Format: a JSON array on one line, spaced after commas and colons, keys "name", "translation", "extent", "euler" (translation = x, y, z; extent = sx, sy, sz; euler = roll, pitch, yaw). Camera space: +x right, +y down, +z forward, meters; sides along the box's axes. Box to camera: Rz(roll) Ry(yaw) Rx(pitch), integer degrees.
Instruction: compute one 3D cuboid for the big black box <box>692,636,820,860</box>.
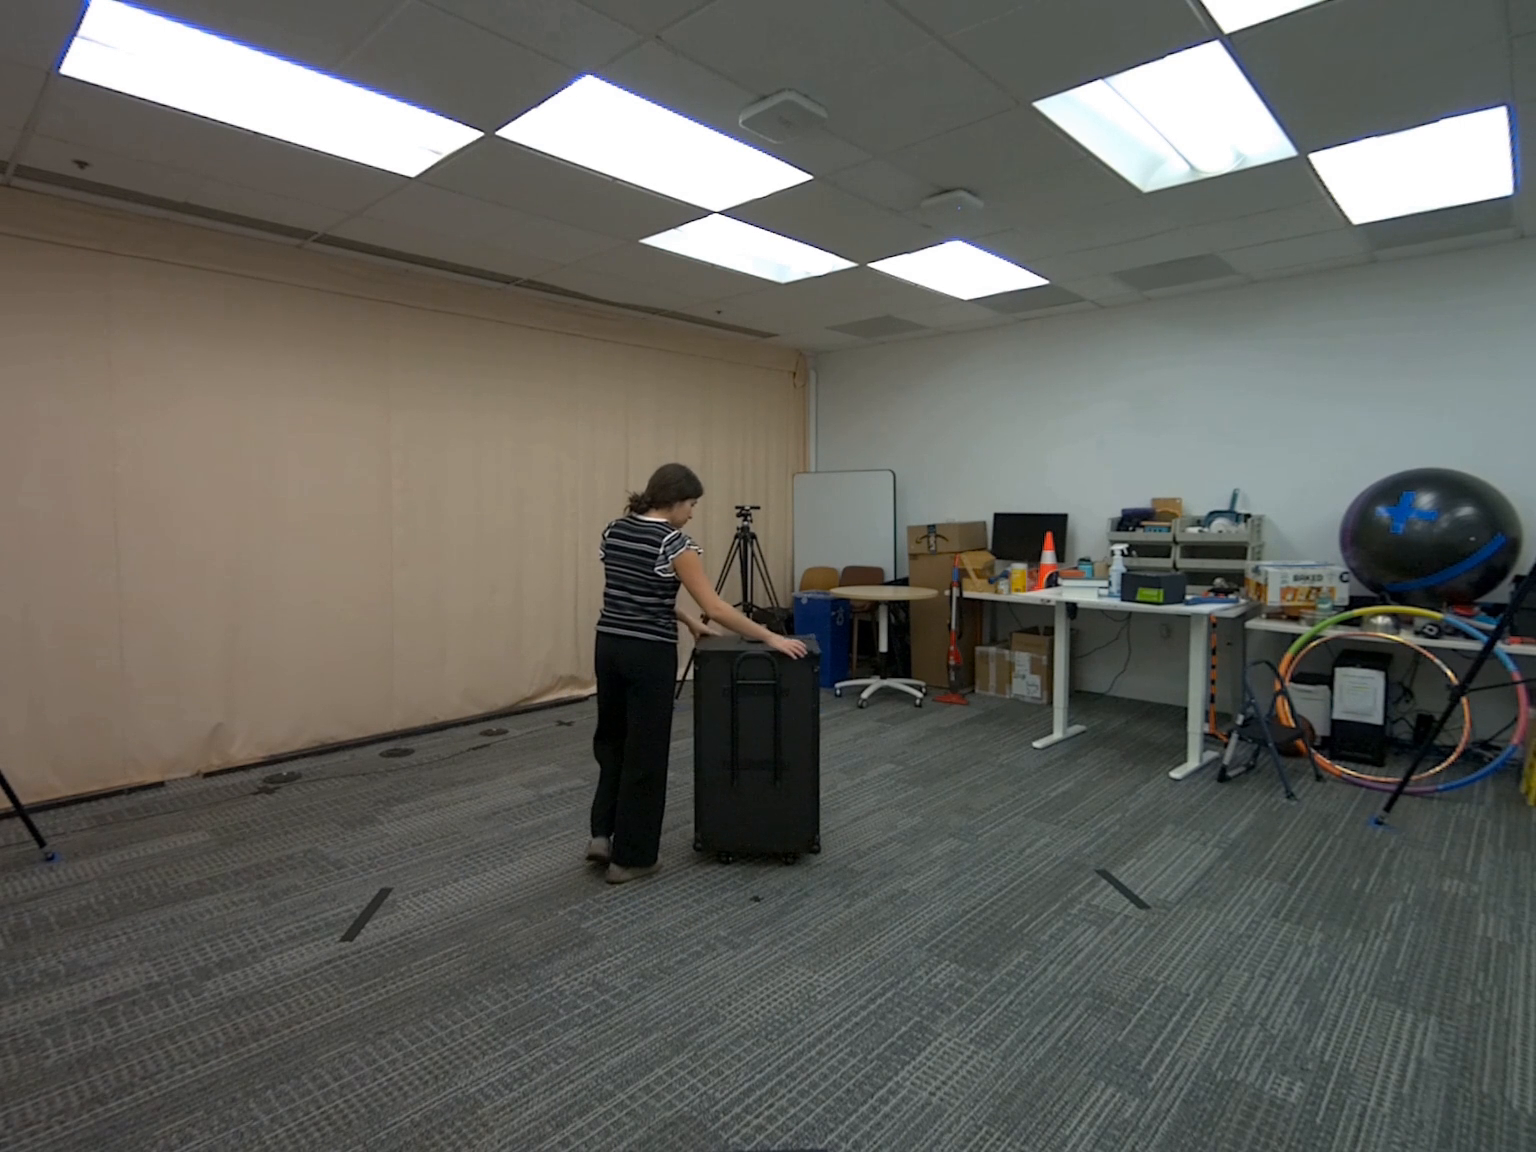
[{"name": "big black box", "translation": [-0.037, 0.690, 3.358], "extent": [0.523, 0.859, 0.396], "euler": [1, 4, 2]}]
